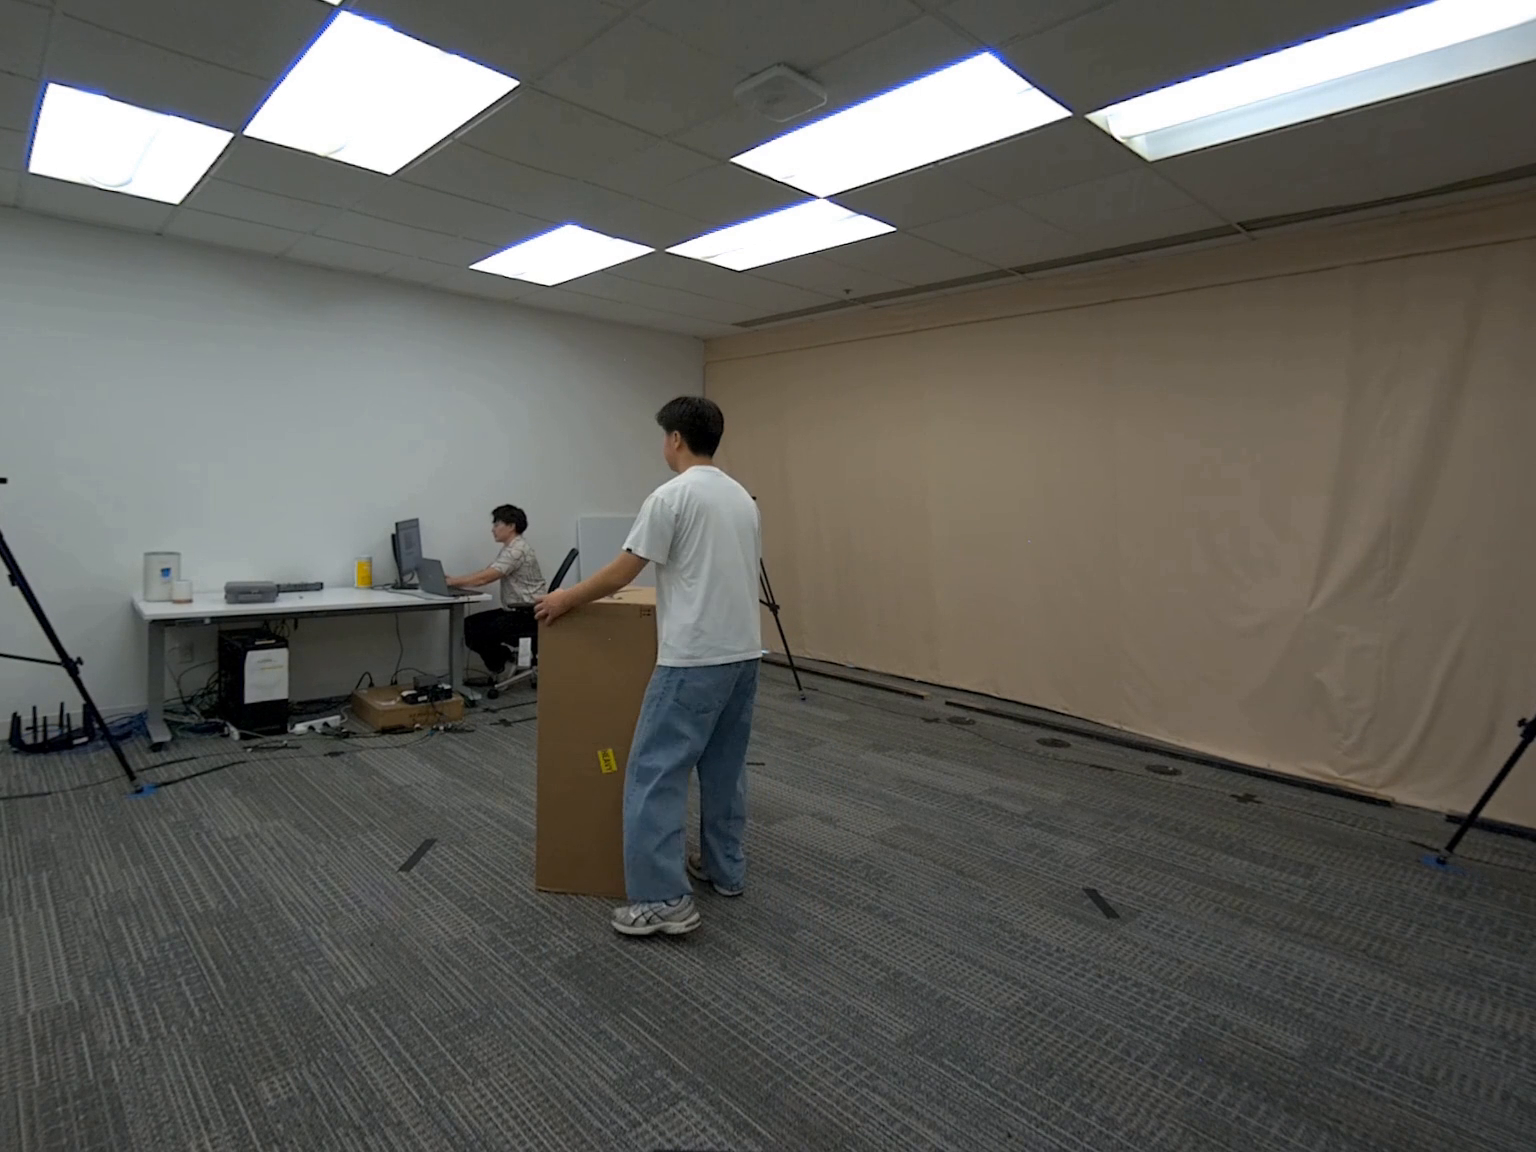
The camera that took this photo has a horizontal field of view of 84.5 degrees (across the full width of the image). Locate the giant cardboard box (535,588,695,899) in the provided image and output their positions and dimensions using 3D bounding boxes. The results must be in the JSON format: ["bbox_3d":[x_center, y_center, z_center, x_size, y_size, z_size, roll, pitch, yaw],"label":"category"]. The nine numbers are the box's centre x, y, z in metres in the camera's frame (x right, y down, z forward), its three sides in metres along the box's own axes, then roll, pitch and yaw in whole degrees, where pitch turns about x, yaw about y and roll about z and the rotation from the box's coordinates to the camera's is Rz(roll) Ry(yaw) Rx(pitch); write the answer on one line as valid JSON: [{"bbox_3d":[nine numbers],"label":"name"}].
[{"bbox_3d":[-0.580,0.580,3.189,0.429,1.023,0.575,2,3,7],"label":"giant cardboard box"}]
